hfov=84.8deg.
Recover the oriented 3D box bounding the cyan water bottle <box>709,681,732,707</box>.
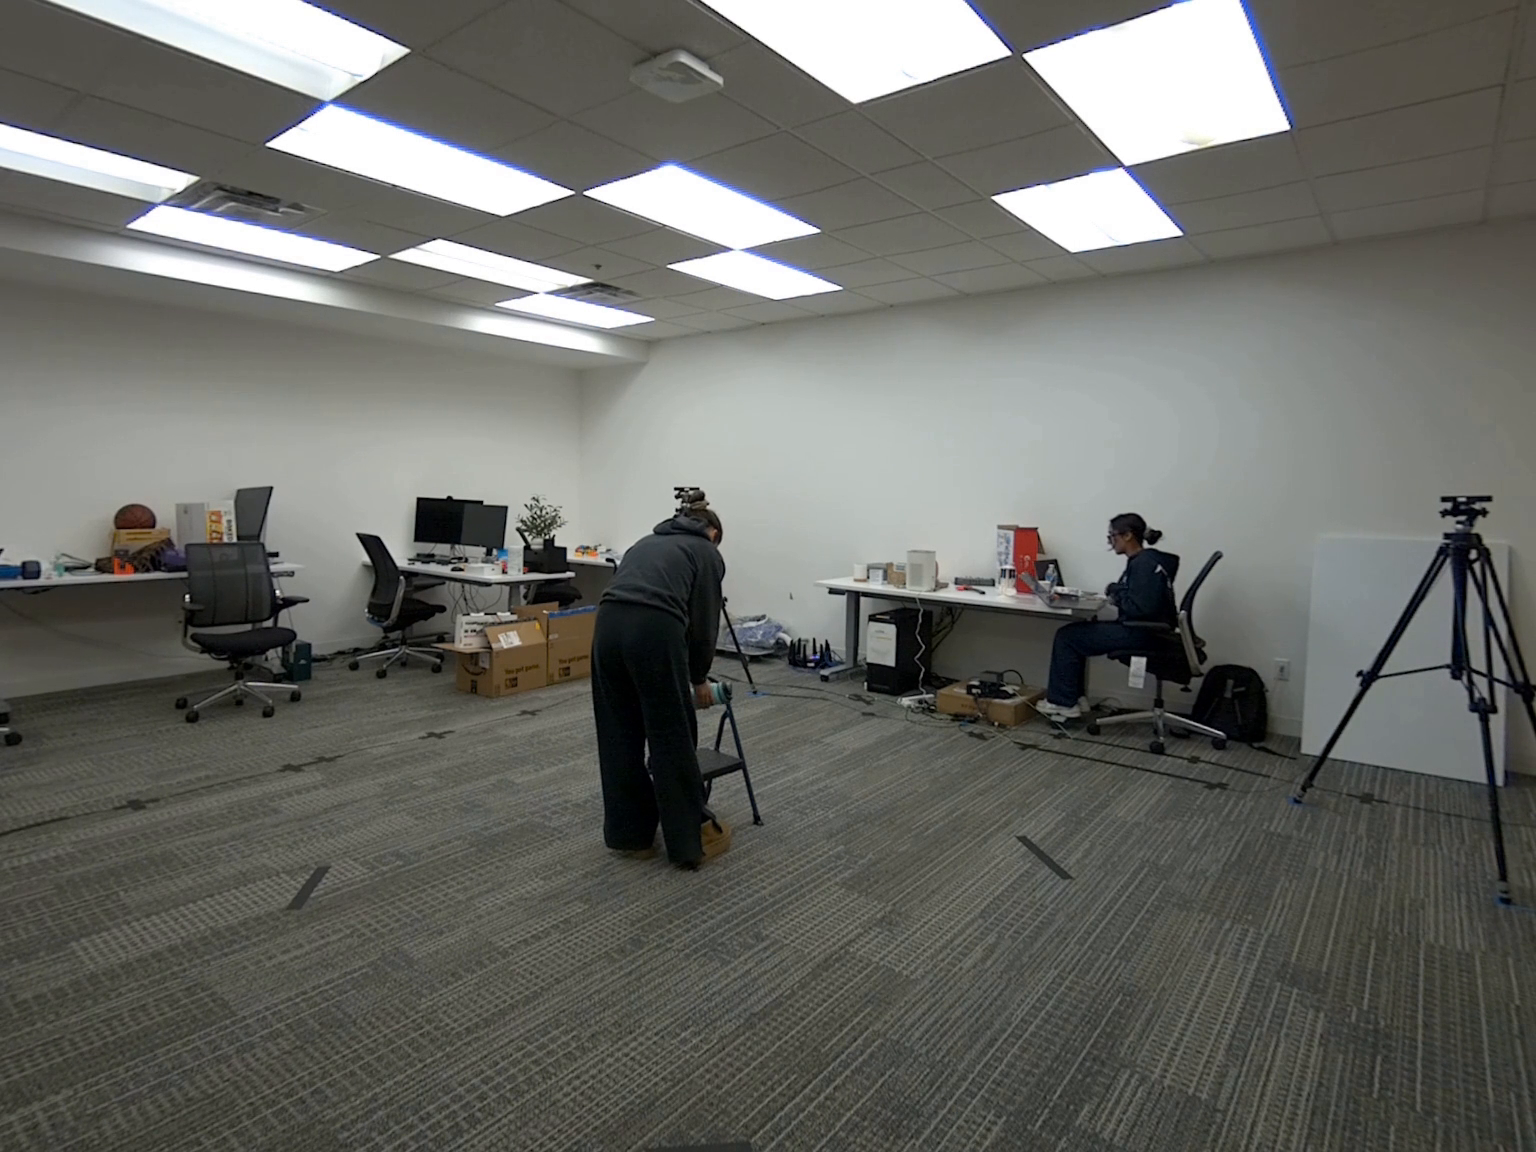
[{"bbox_3d":[-0.273,0.491,3.456,0.284,0.092,0.092,-15,3,5],"label":"cyan water bottle"}]
